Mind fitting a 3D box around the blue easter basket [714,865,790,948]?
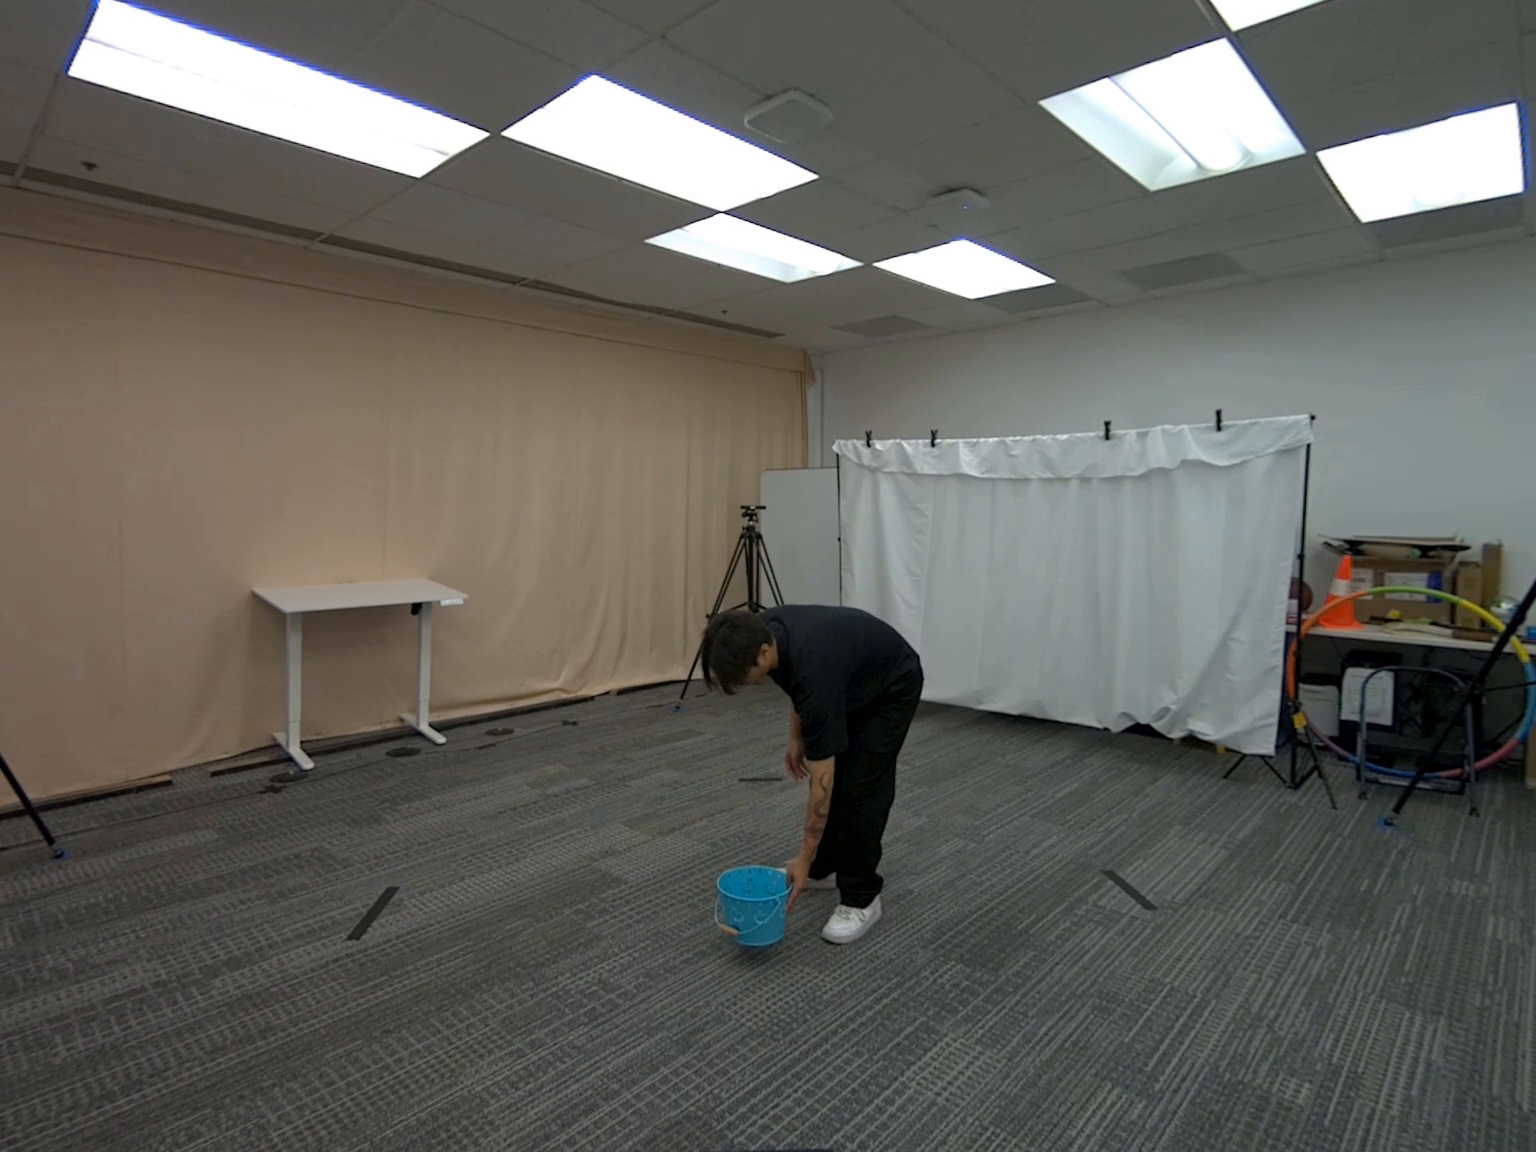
[{"bbox_3d":[-0.047,1.019,2.587,0.243,0.155,0.244,0,3,-2],"label":"blue easter basket"}]
